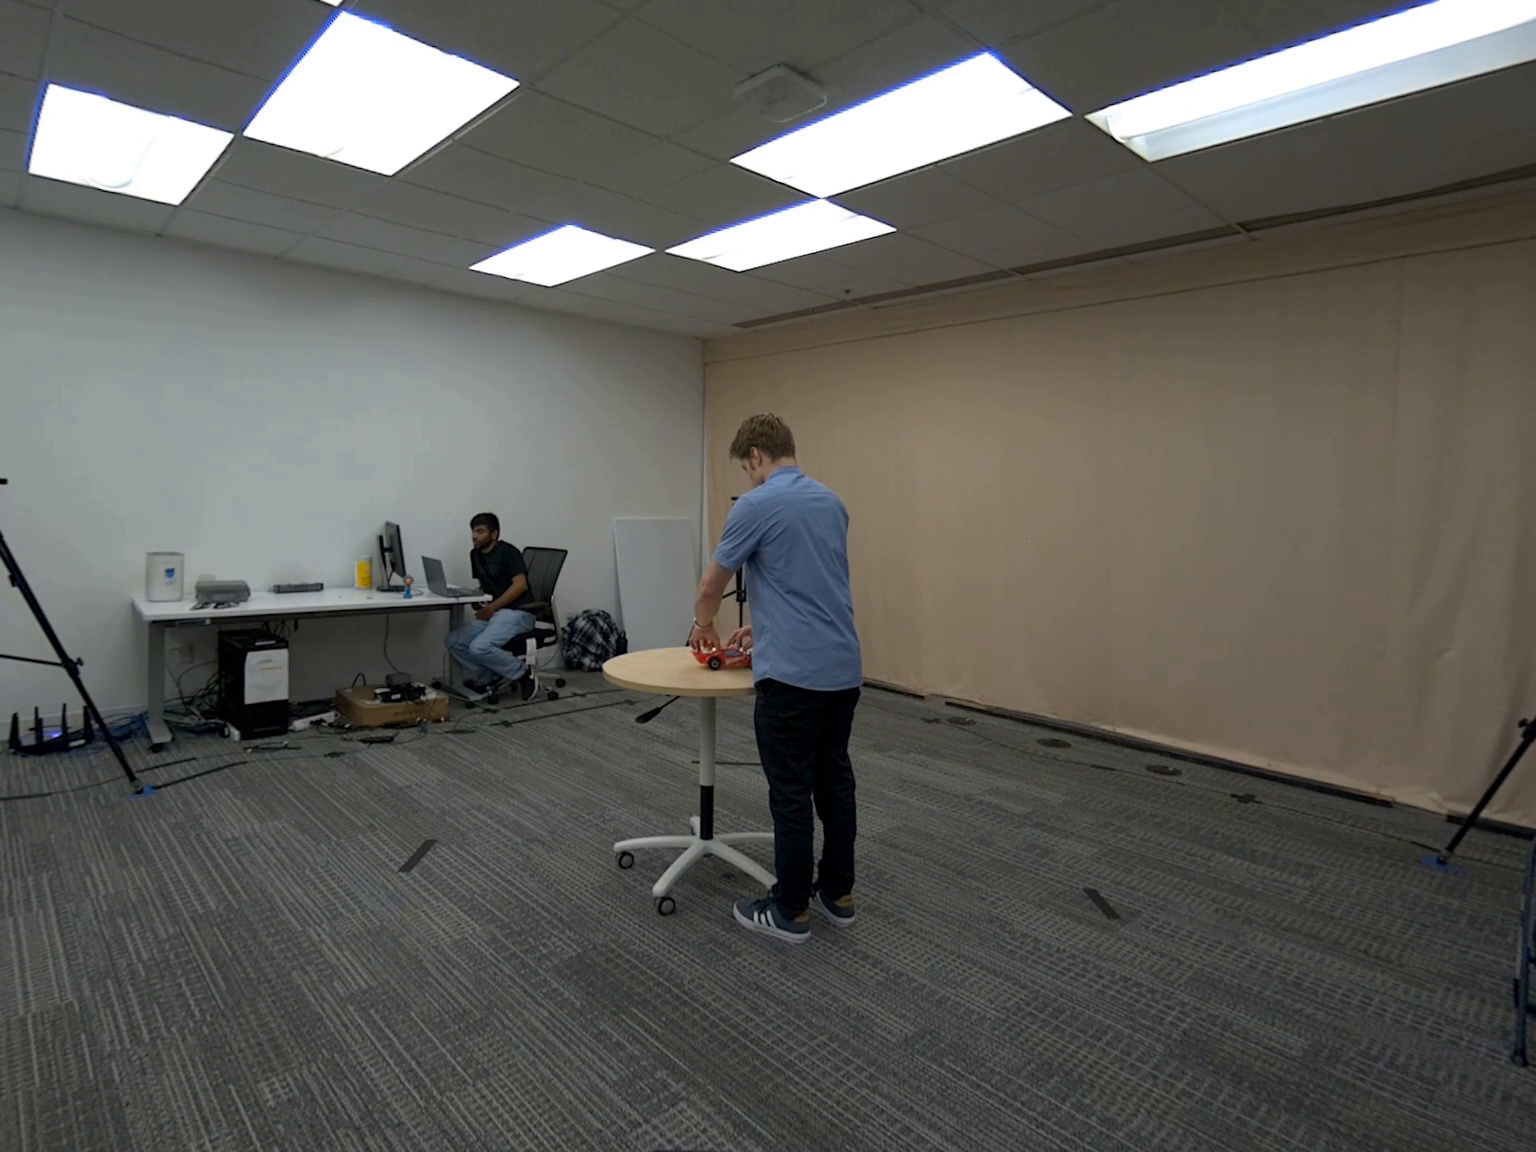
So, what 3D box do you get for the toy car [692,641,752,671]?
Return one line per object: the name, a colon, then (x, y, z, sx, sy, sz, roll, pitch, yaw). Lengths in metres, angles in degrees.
toy car: (-0.158, 0.298, 3.029, 0.252, 0.083, 0.131, 10, 2, -10)
